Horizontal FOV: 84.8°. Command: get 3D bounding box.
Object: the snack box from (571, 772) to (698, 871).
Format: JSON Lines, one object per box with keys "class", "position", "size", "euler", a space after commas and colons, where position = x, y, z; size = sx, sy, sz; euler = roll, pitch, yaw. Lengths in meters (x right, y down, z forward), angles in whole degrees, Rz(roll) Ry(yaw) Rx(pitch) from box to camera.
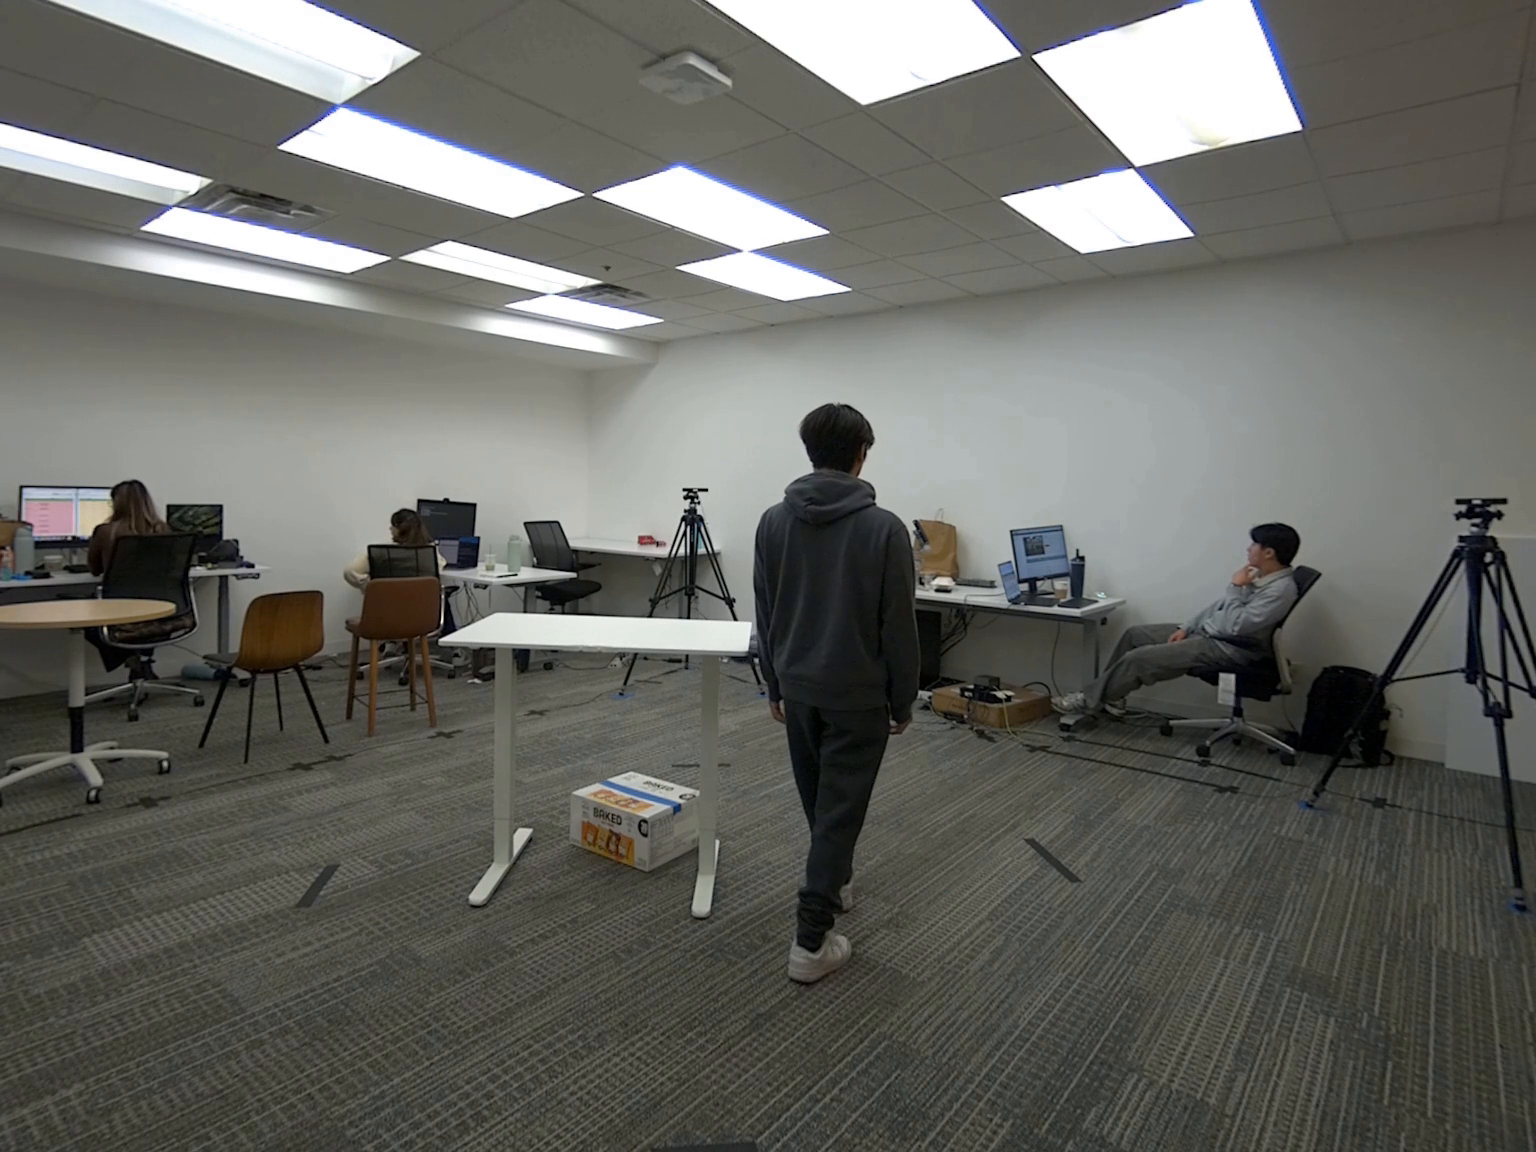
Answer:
{"class": "snack box", "position": [-0.516, 0.944, 3.315], "size": [0.418, 0.205, 0.331], "euler": [5, 6, 35]}
